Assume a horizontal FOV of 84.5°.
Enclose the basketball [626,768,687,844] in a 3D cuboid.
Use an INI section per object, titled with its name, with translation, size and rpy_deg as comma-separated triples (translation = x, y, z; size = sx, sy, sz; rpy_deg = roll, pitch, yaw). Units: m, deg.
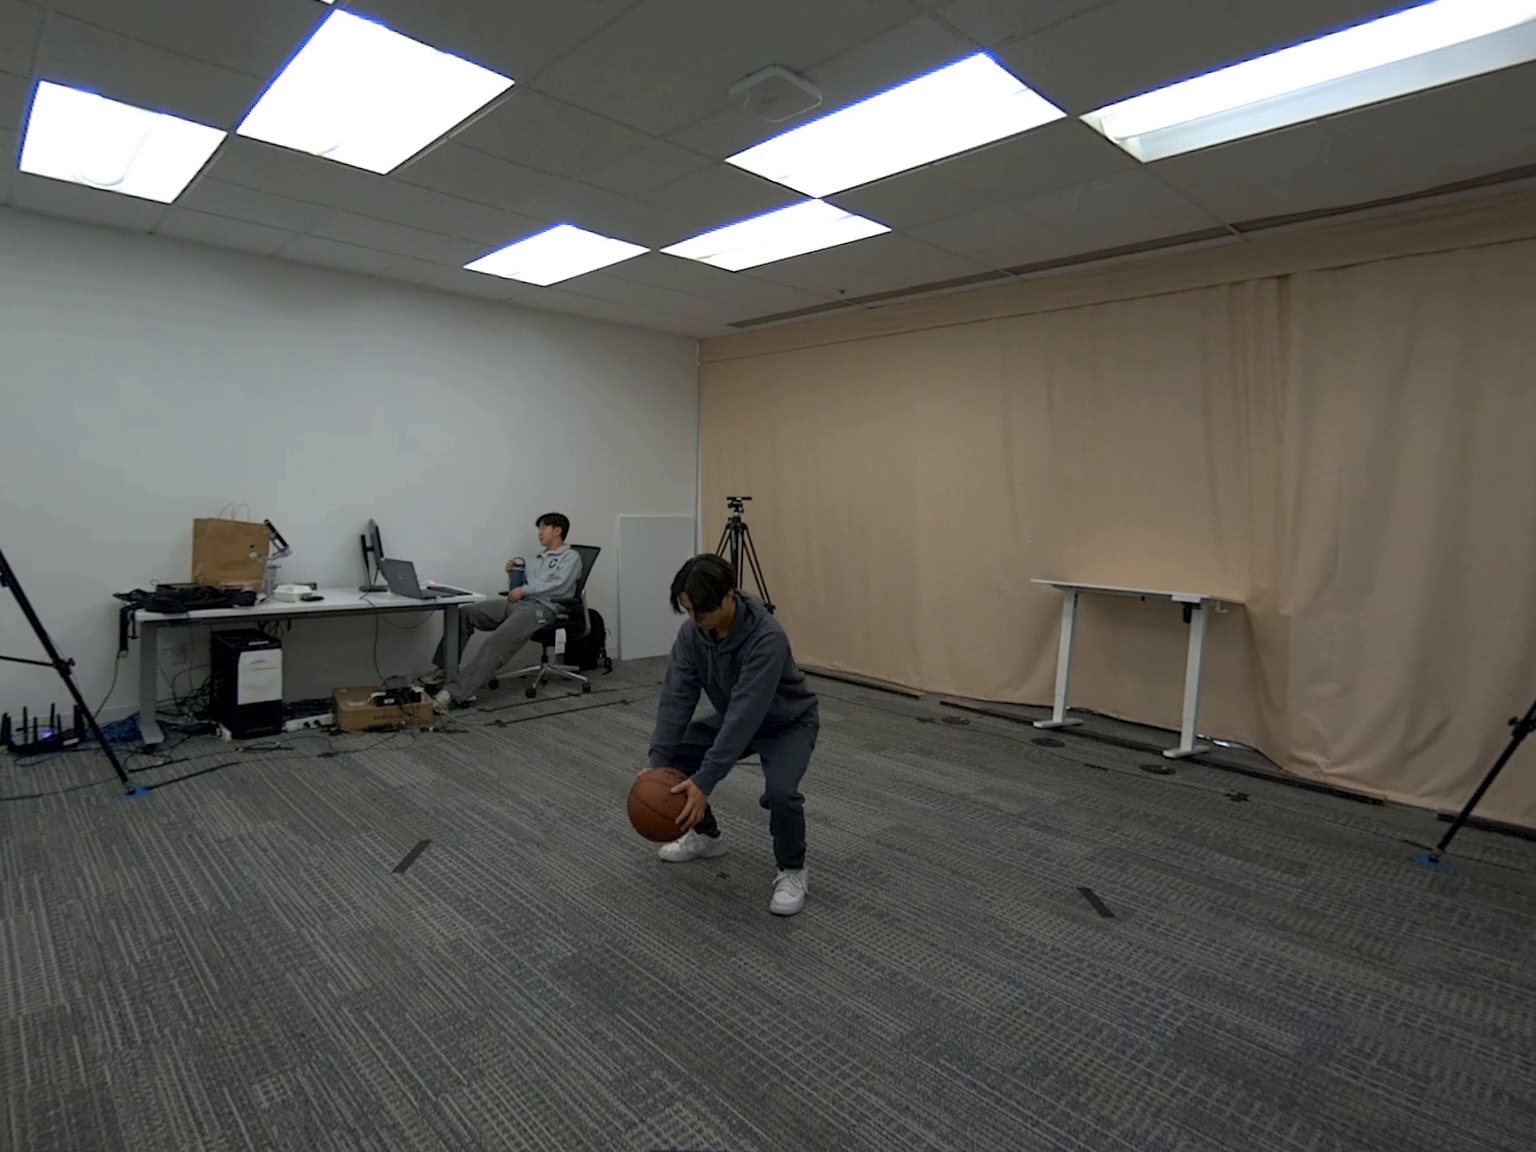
[basketball]
translation = -0.357, 0.754, 2.792
size = 0.236, 0.235, 0.237
rpy_deg = 1, 4, -1
